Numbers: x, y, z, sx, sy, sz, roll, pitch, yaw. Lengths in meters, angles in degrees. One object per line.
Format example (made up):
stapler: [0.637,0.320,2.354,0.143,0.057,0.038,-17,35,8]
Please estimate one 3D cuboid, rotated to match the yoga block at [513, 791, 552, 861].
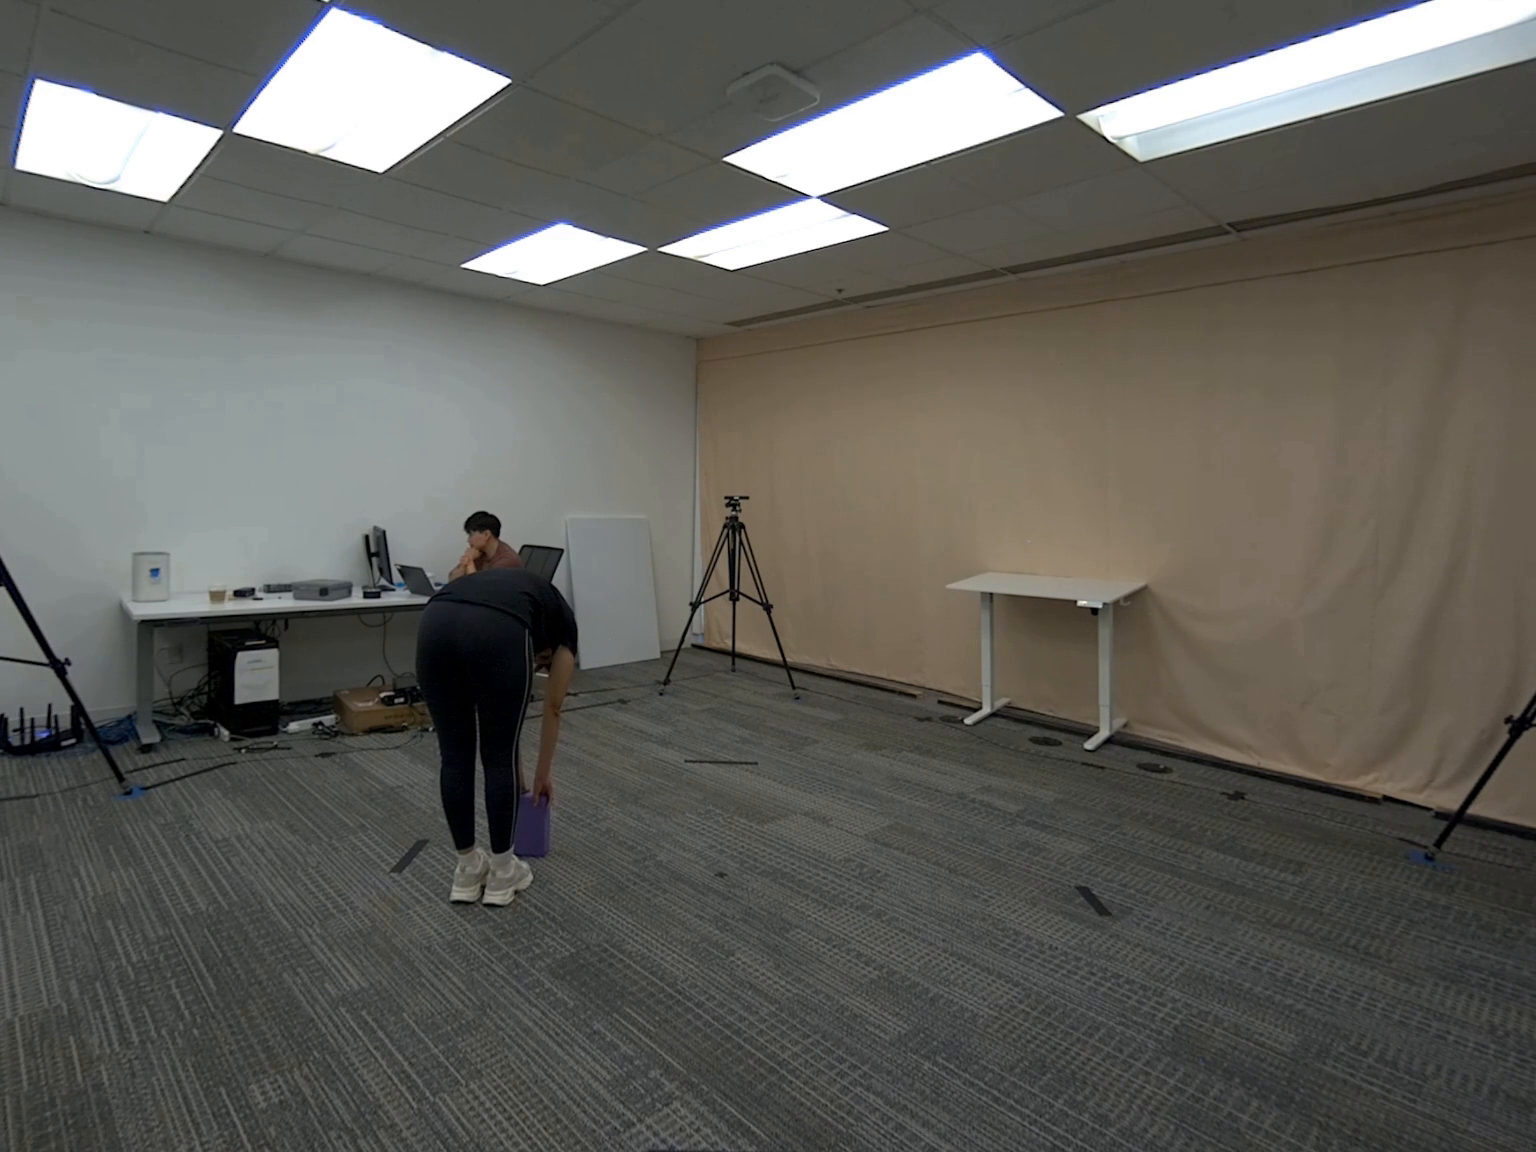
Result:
yoga block: [-0.930,0.963,3.252,0.149,0.229,0.076,3,4,4]
